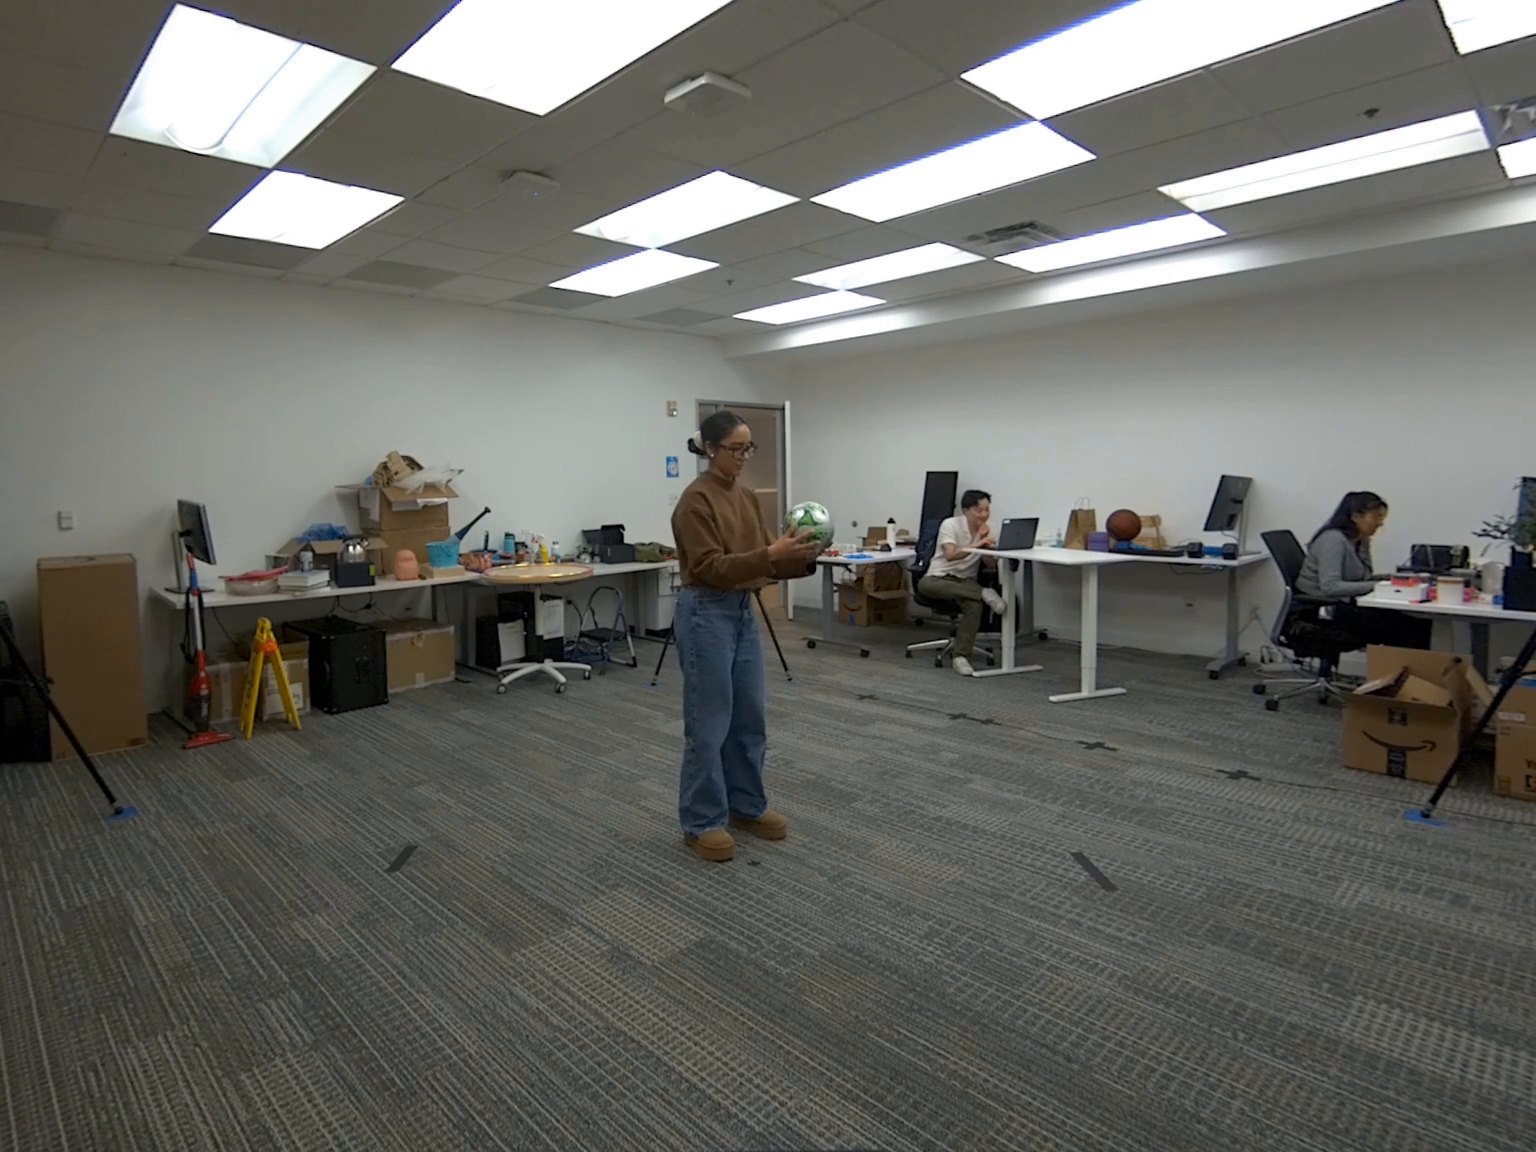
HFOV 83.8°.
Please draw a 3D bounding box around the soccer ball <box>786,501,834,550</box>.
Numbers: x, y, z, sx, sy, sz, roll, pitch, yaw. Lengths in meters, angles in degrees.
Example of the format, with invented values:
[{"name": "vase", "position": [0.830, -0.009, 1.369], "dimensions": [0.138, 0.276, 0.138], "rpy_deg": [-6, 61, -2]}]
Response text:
[{"name": "soccer ball", "position": [0.144, -0.158, 3.073], "dimensions": [0.187, 0.187, 0.188], "rpy_deg": [-1, 5, -2]}]
